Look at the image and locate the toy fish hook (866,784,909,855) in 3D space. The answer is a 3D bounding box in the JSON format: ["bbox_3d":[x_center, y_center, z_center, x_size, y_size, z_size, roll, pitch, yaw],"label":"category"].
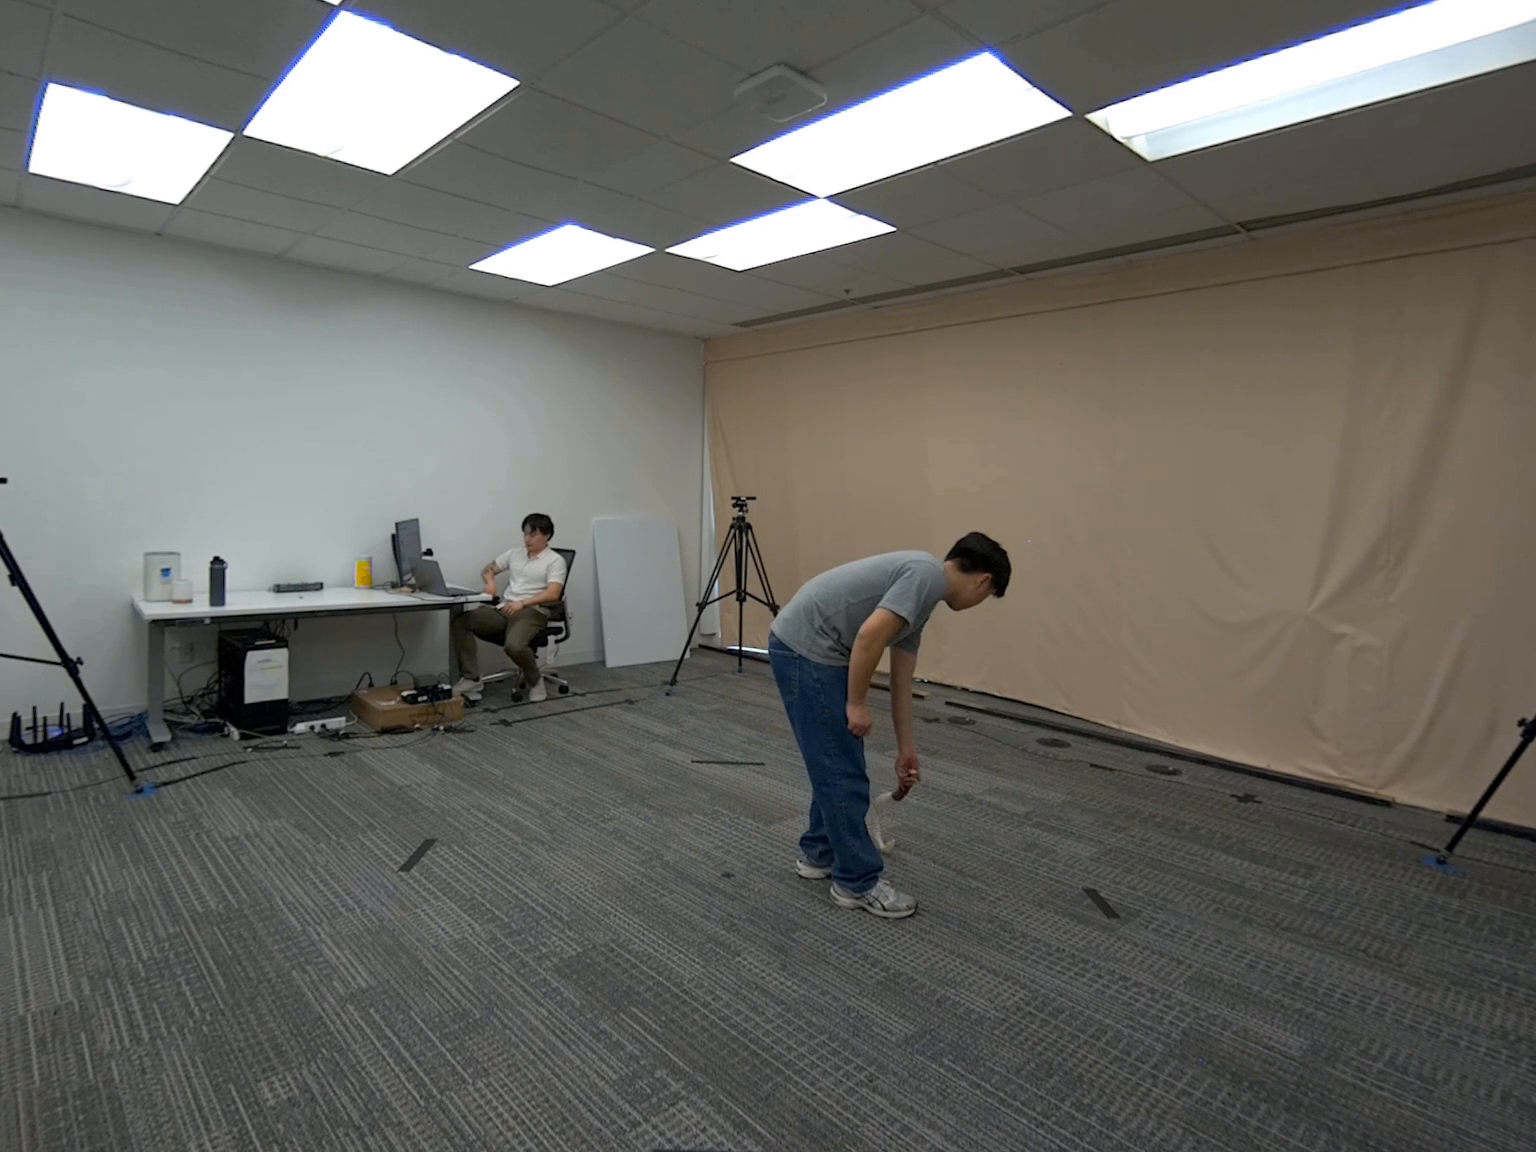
[{"bbox_3d":[0.476,0.909,3.233,0.048,0.230,0.499,0,-36,-13],"label":"toy fish hook"}]
